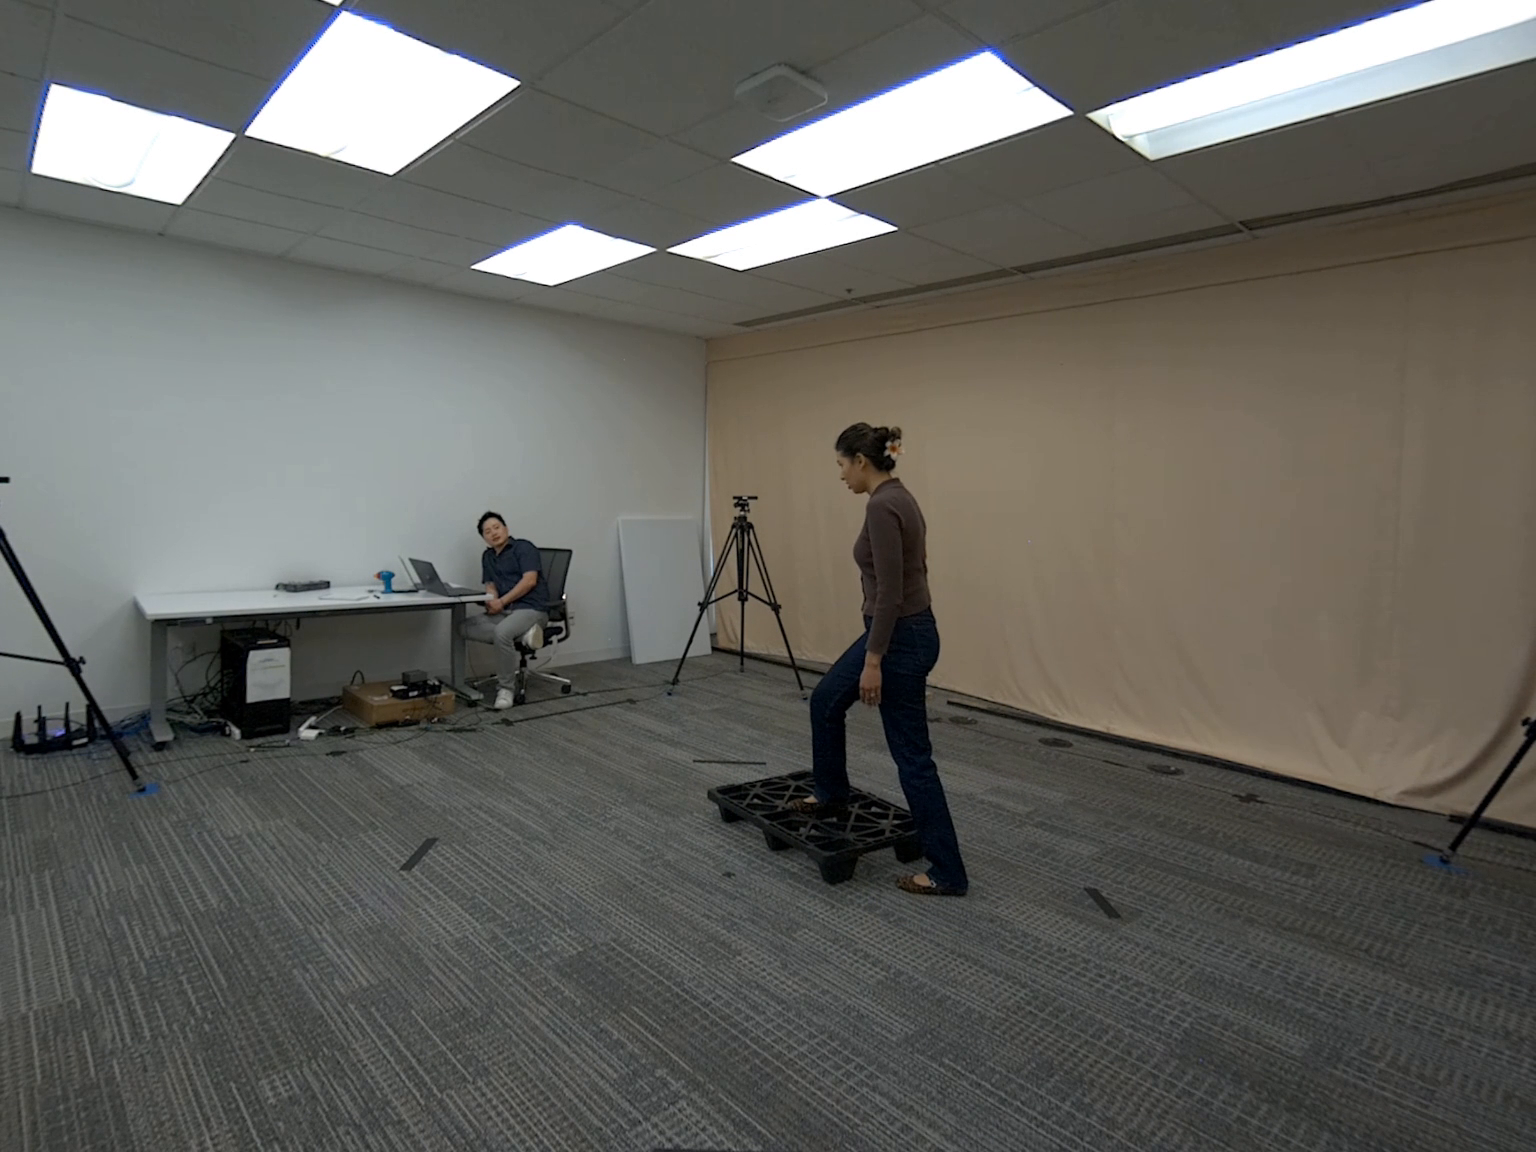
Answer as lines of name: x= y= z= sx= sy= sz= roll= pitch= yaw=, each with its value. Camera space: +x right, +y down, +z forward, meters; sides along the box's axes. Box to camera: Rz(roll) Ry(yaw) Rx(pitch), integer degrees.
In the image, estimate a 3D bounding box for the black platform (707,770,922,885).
black platform: x=0.199 y=1.013 z=3.460 sx=0.592 sy=0.143 sz=0.825 roll=-2 pitch=6 yaw=-35
